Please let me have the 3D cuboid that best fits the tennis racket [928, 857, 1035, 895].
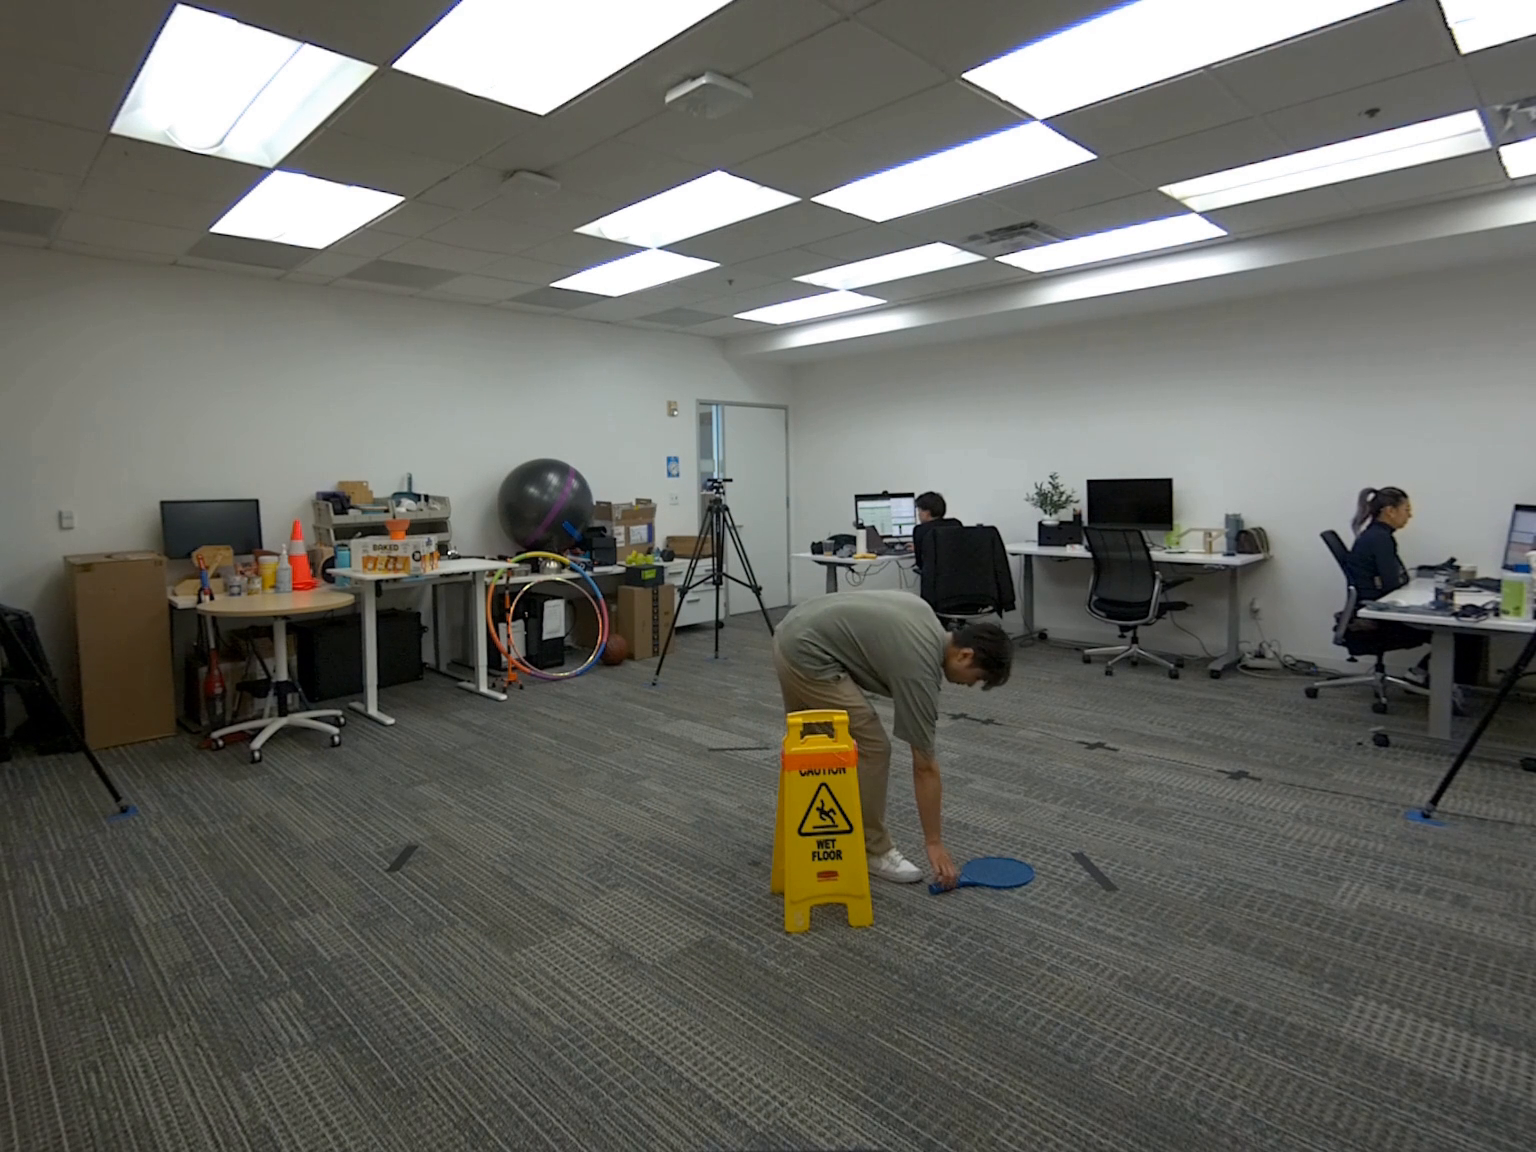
[{"bbox_3d":[0.729,1.030,2.946,0.423,0.031,0.220,-3,8,-29],"label":"tennis racket"}]
